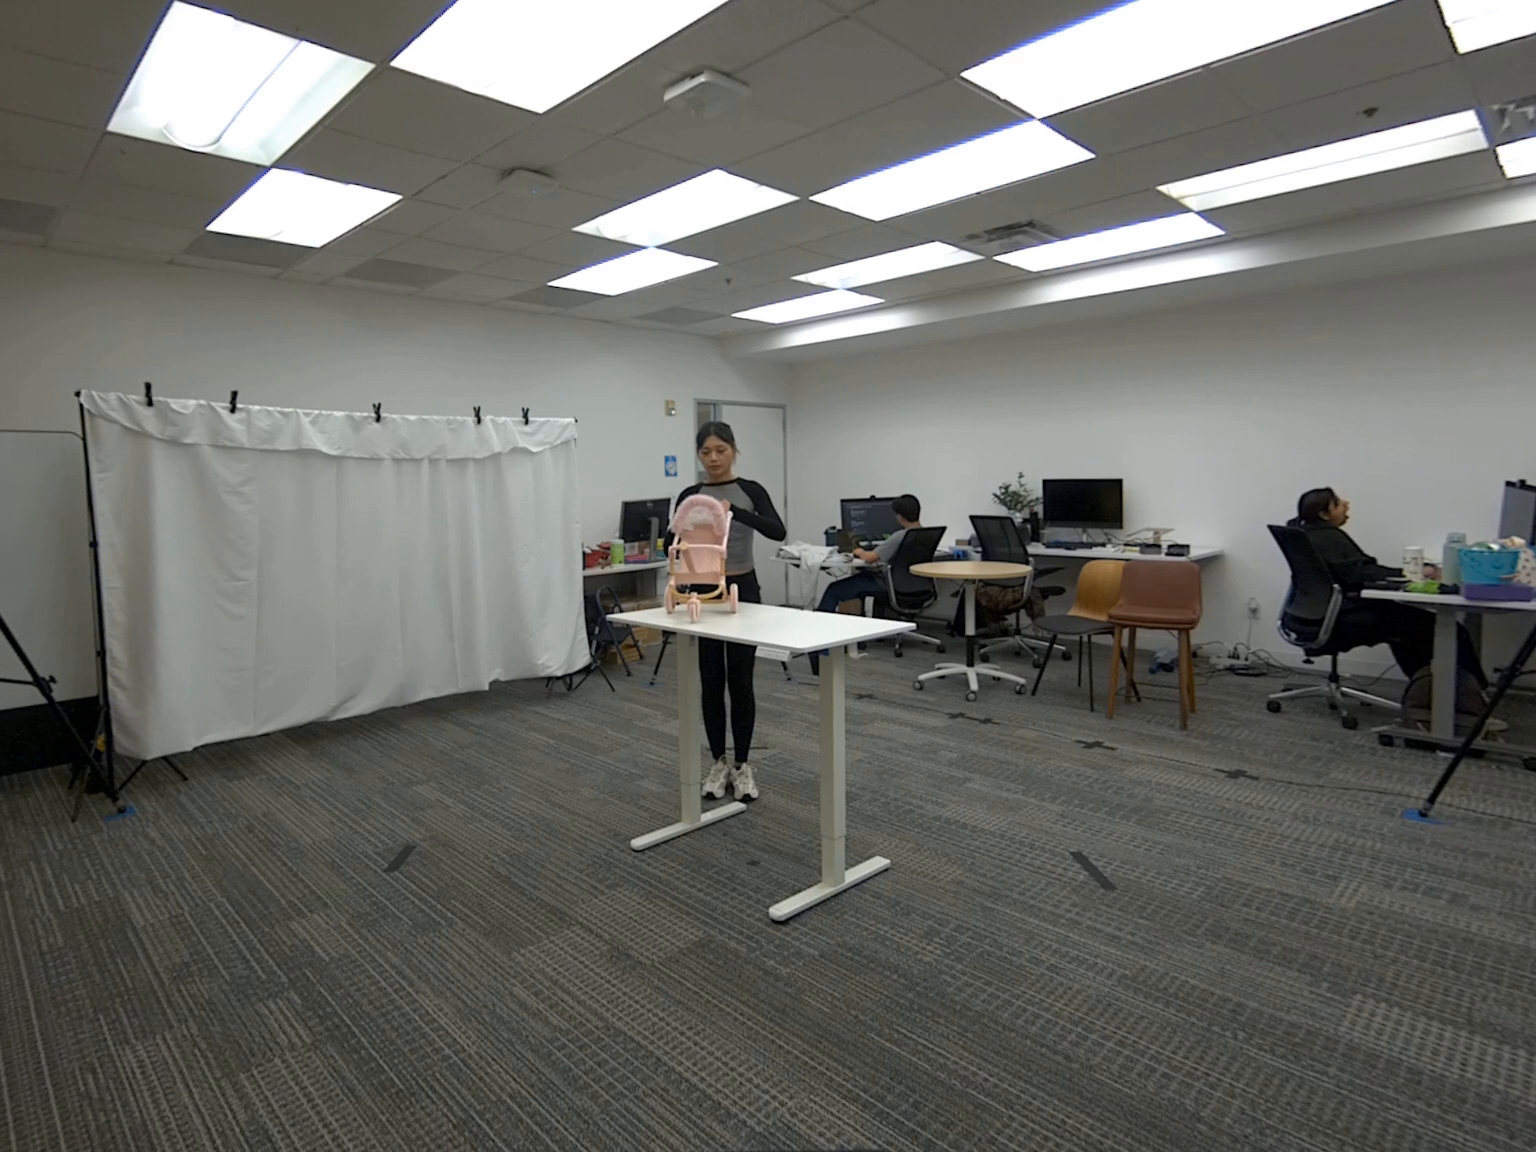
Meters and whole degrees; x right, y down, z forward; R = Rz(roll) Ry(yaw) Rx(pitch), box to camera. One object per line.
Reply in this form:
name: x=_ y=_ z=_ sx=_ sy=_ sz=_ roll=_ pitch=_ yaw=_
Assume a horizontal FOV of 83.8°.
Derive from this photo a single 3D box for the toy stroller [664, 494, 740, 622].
toy stroller: x=-0.264 y=-0.069 z=3.244 sx=0.284 sy=0.542 sz=0.334 roll=-2 pitch=-15 yaw=8
